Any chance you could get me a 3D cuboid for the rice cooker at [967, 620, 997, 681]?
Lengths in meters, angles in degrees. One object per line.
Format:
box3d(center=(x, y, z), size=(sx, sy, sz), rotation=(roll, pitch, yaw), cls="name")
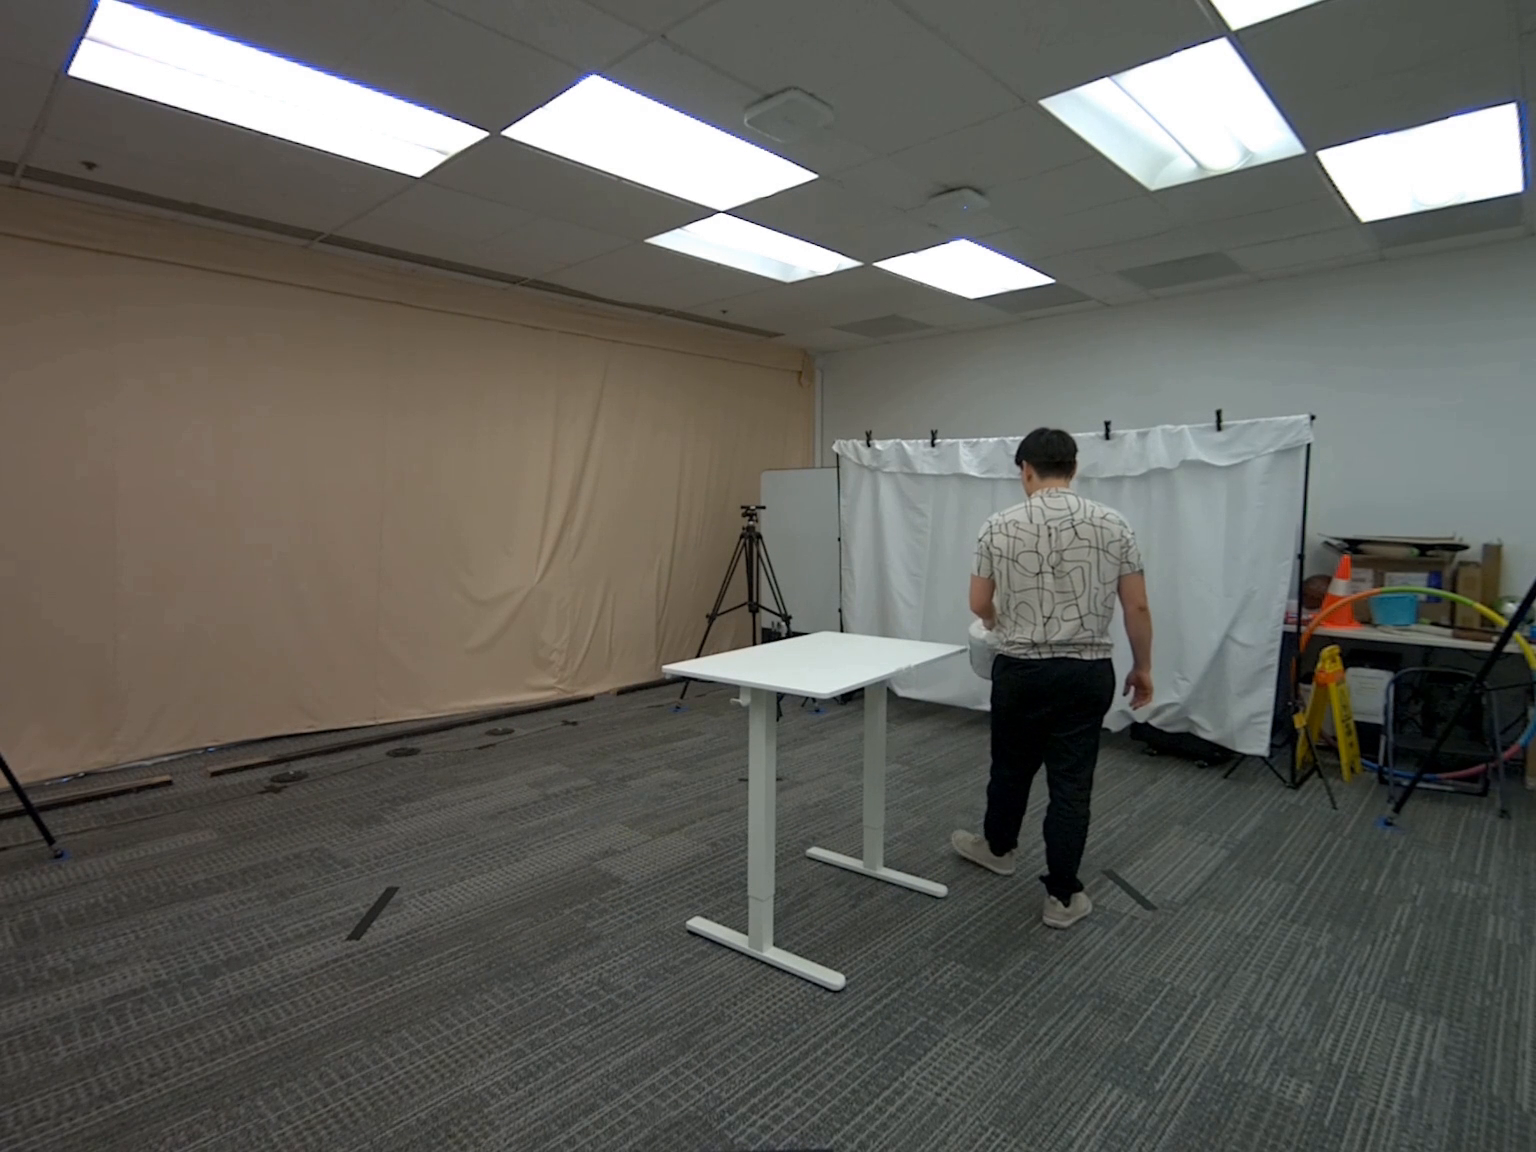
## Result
box3d(center=(0.893, 0.263, 3.236), size=(0.222, 0.229, 0.219), rotation=(-4, 21, 21), cls="rice cooker")
